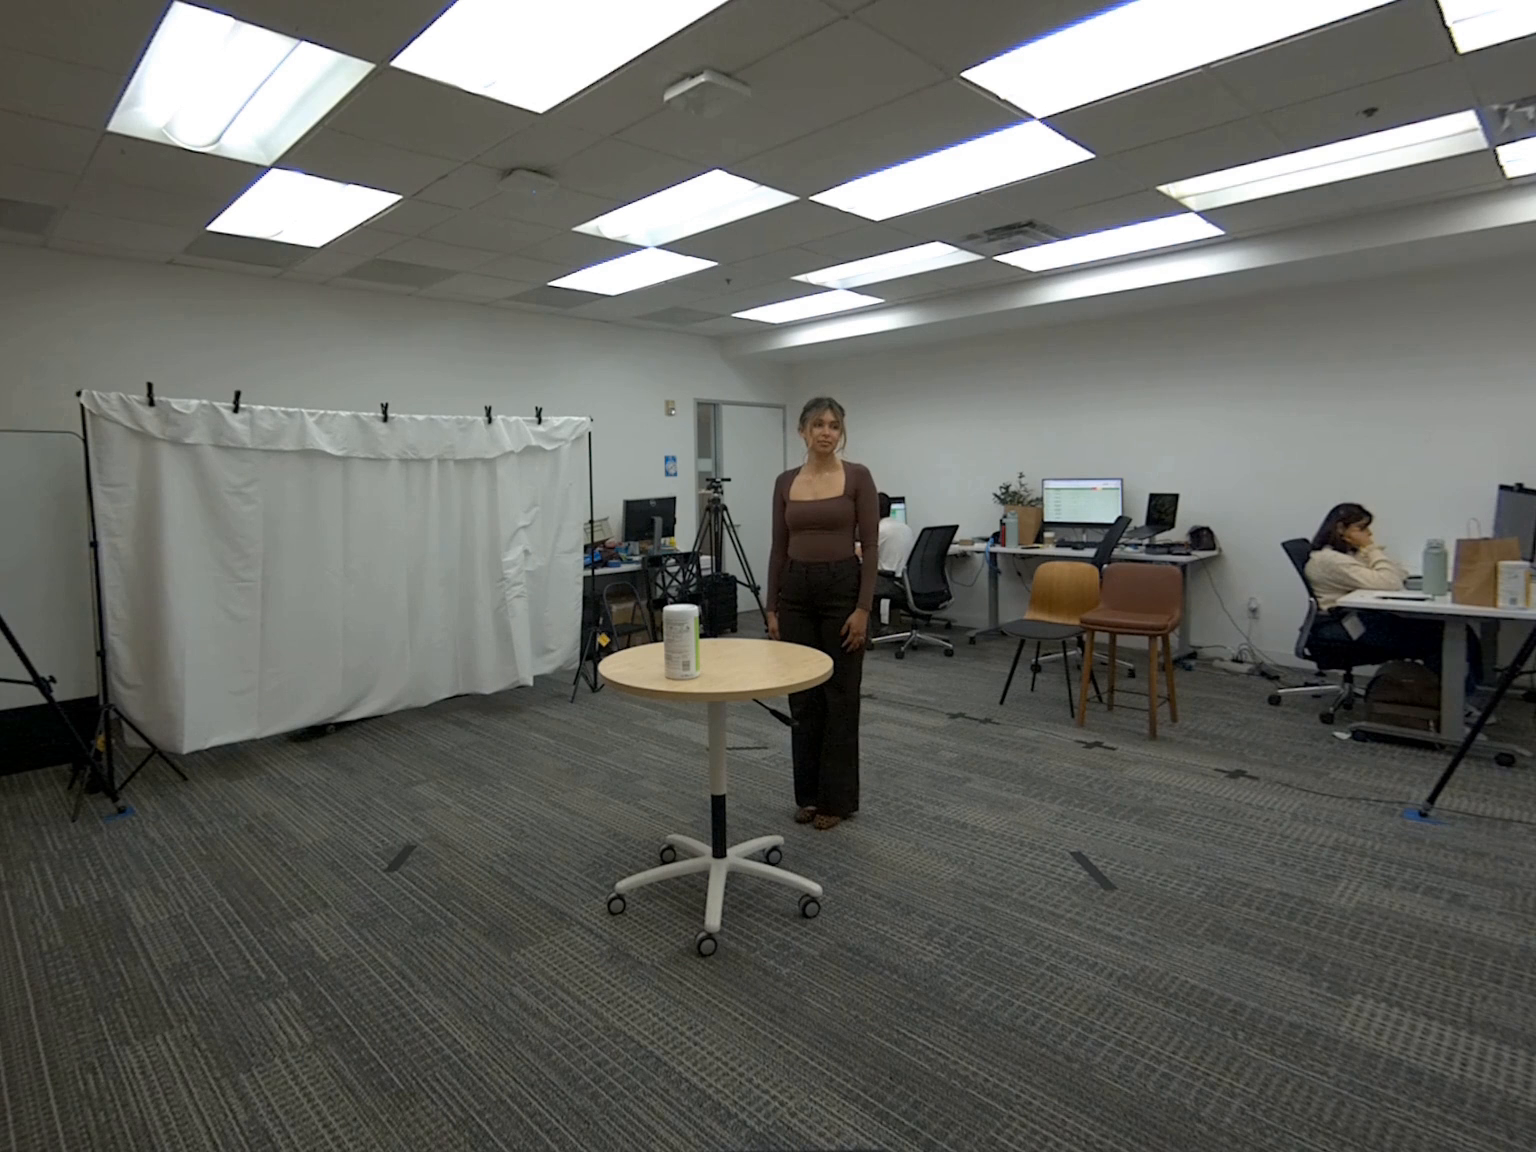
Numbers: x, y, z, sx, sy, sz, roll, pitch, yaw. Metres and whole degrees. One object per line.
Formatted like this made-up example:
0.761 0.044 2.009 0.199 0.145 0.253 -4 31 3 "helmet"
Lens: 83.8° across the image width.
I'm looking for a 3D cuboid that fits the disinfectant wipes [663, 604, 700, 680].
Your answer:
-0.262 0.200 2.608 0.118 0.217 0.118 -2 4 -1 "disinfectant wipes"
